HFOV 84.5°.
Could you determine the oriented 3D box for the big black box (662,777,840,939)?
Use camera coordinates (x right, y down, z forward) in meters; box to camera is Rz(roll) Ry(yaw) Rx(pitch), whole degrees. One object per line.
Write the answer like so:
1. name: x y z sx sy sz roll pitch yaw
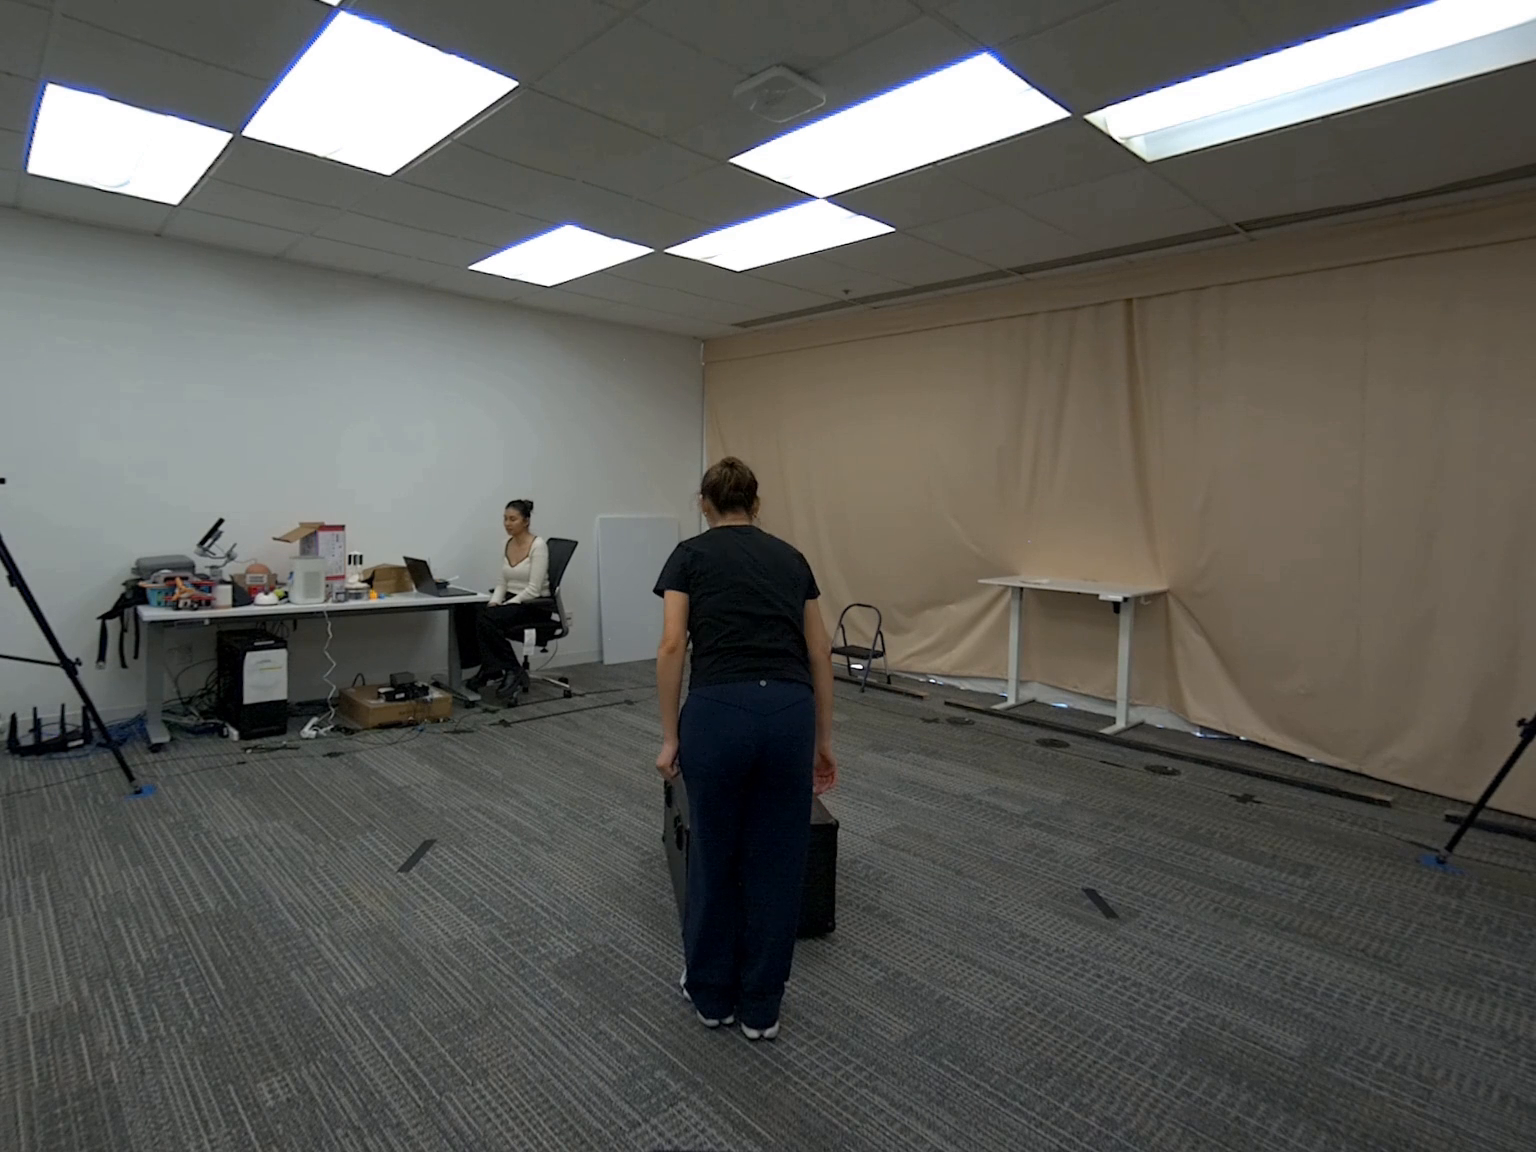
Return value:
1. big black box: -0.106 0.925 3.016 0.516 0.395 0.872 1 5 -12
